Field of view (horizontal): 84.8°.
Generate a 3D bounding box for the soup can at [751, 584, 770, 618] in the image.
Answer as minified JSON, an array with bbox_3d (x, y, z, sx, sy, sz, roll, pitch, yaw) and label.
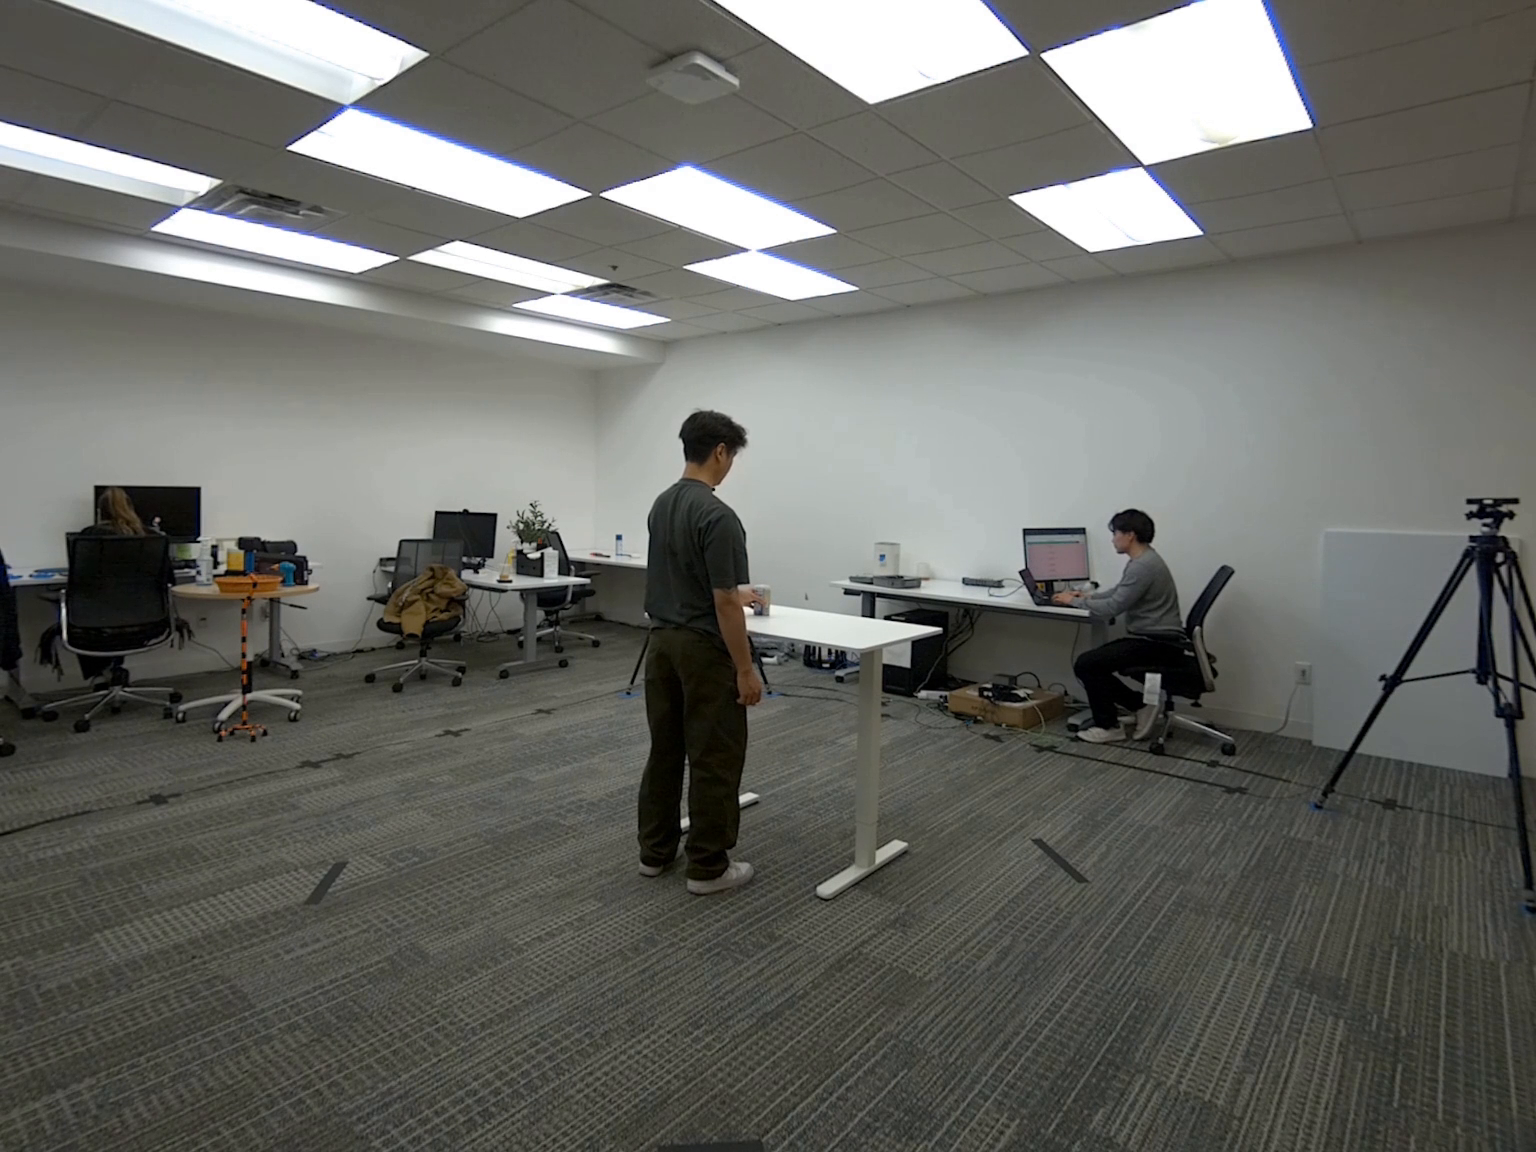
[{"bbox_3d":[-0.032,0.100,3.420,0.067,0.121,0.067,1,6,-2],"label":"soup can"}]
